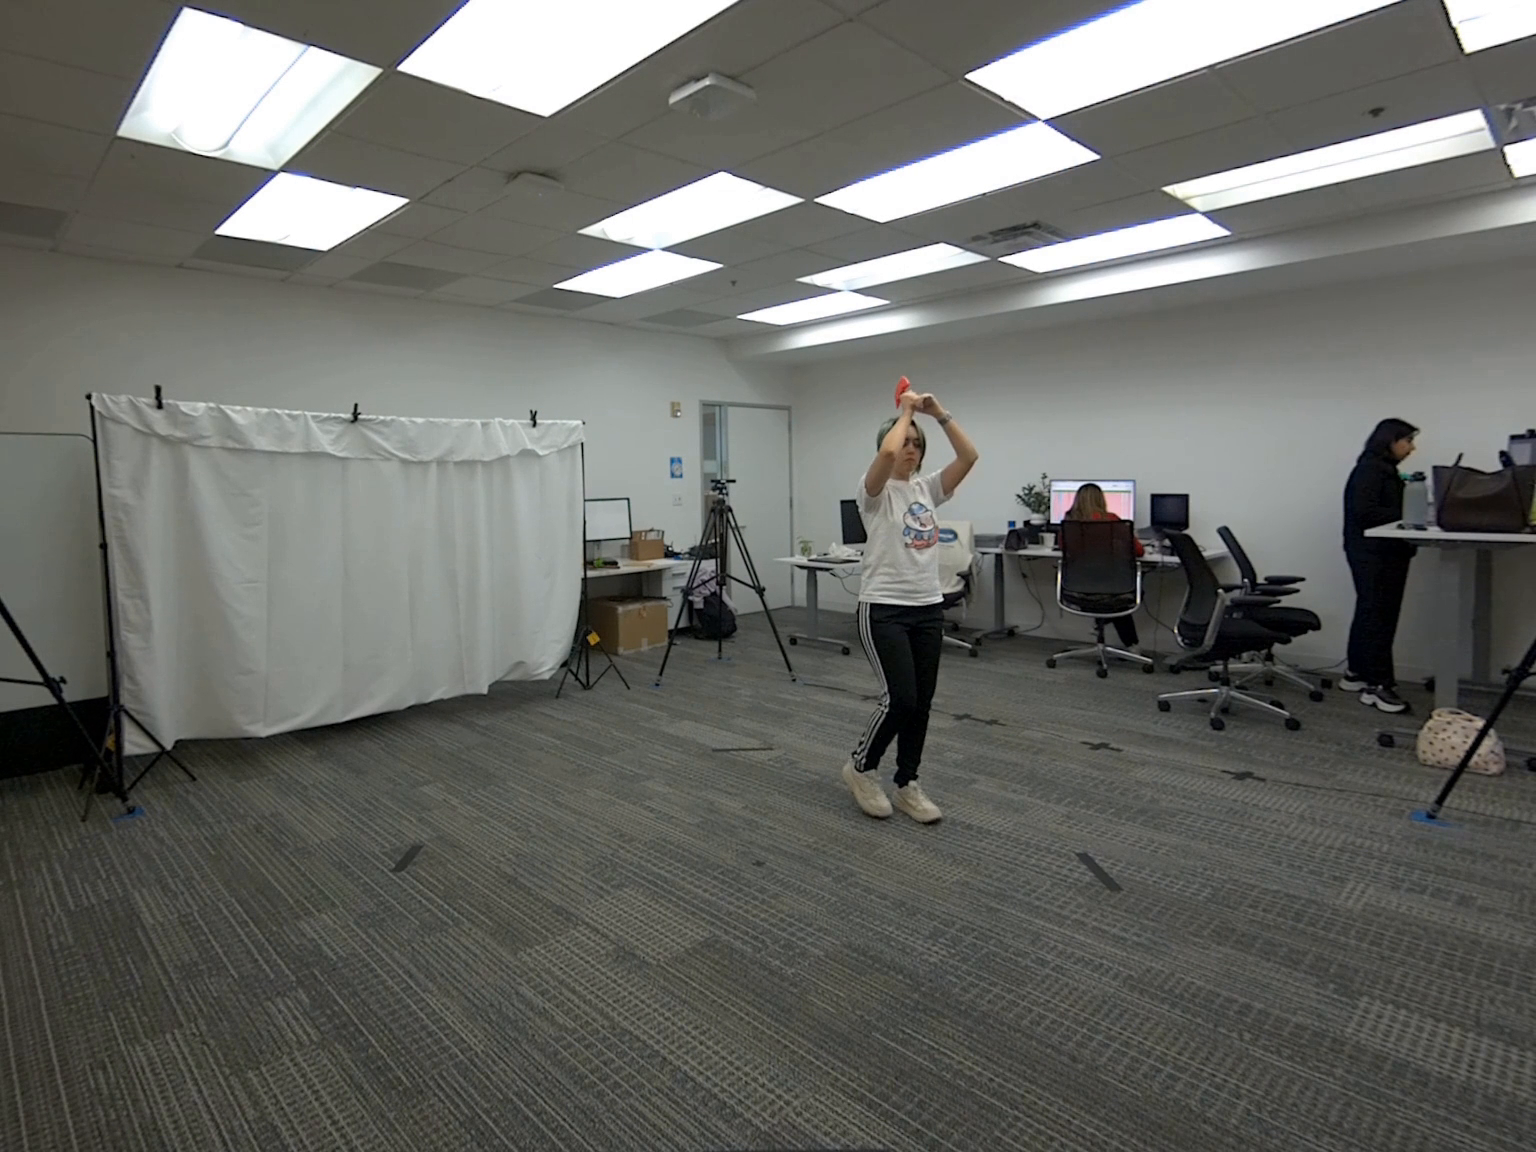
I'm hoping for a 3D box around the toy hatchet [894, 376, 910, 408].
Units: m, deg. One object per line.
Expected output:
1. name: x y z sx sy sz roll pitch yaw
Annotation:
1. toy hatchet: 0.584 -0.740 3.403 0.029 0.130 0.275 -1 5 -19
